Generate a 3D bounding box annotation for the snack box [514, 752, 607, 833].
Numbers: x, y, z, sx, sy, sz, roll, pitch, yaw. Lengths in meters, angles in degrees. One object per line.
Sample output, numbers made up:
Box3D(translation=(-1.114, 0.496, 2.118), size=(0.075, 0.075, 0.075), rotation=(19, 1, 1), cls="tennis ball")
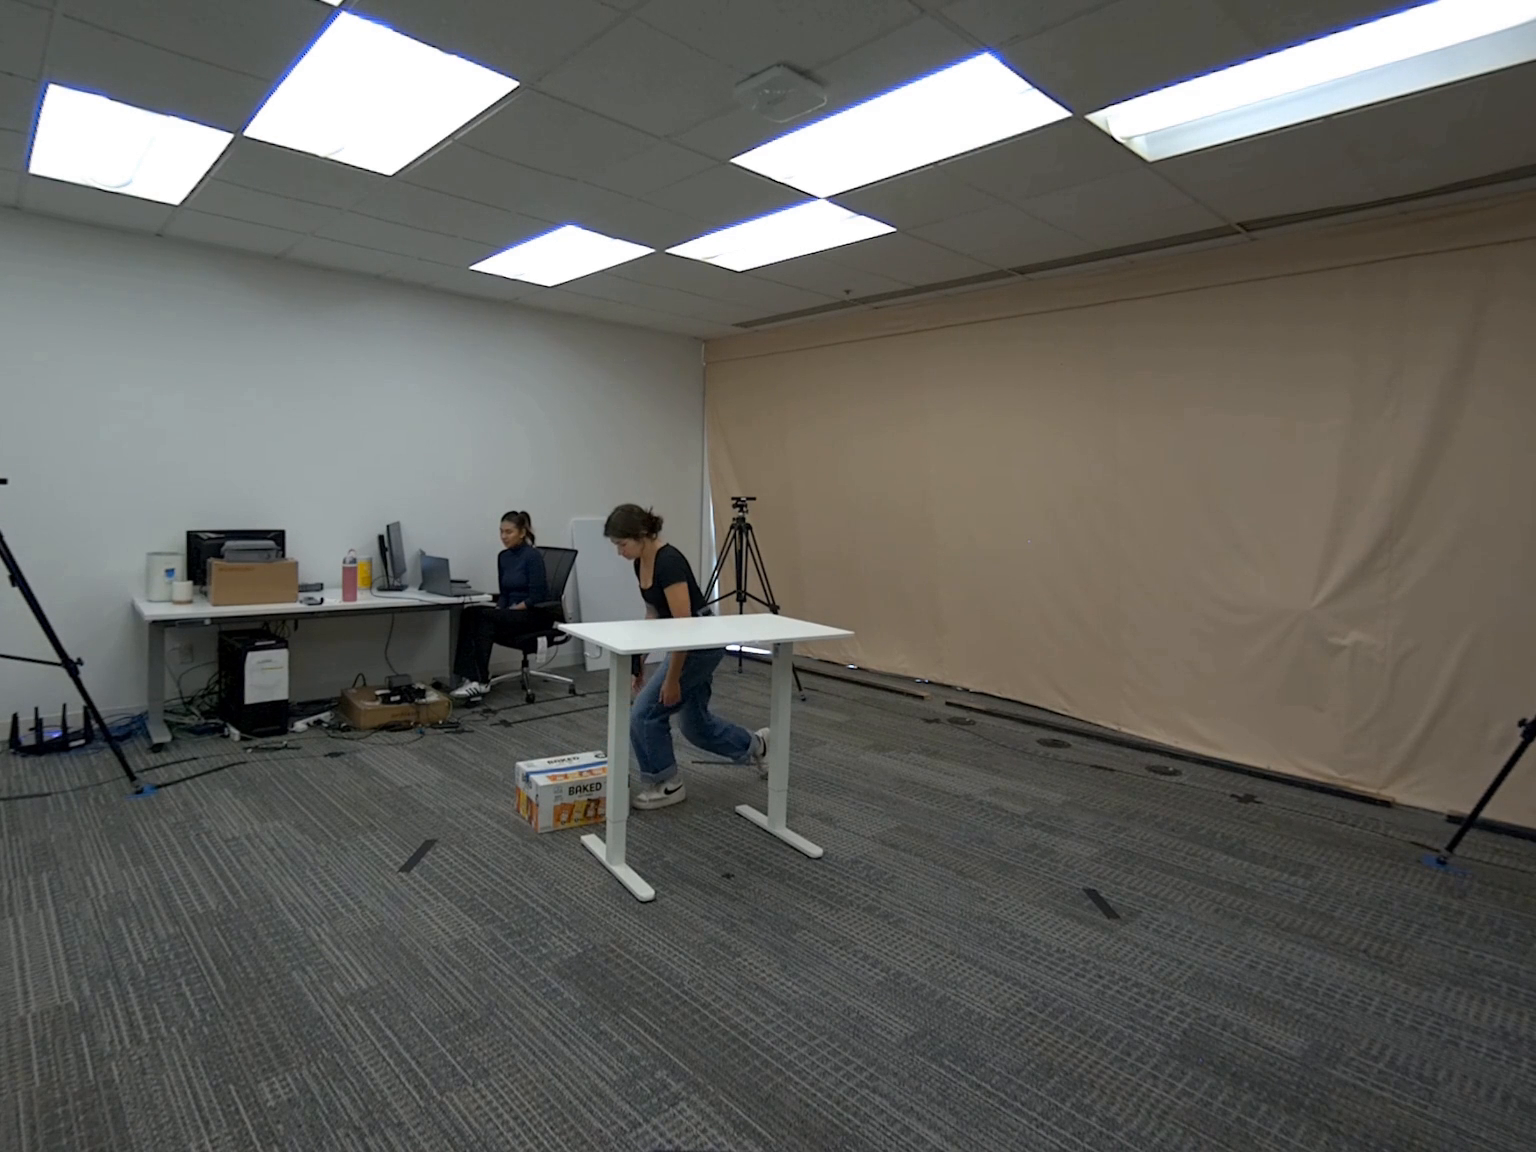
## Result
Box3D(translation=(-0.873, 0.939, 3.689), size=(0.397, 0.205, 0.348), rotation=(-1, 5, -32), cls="snack box")
